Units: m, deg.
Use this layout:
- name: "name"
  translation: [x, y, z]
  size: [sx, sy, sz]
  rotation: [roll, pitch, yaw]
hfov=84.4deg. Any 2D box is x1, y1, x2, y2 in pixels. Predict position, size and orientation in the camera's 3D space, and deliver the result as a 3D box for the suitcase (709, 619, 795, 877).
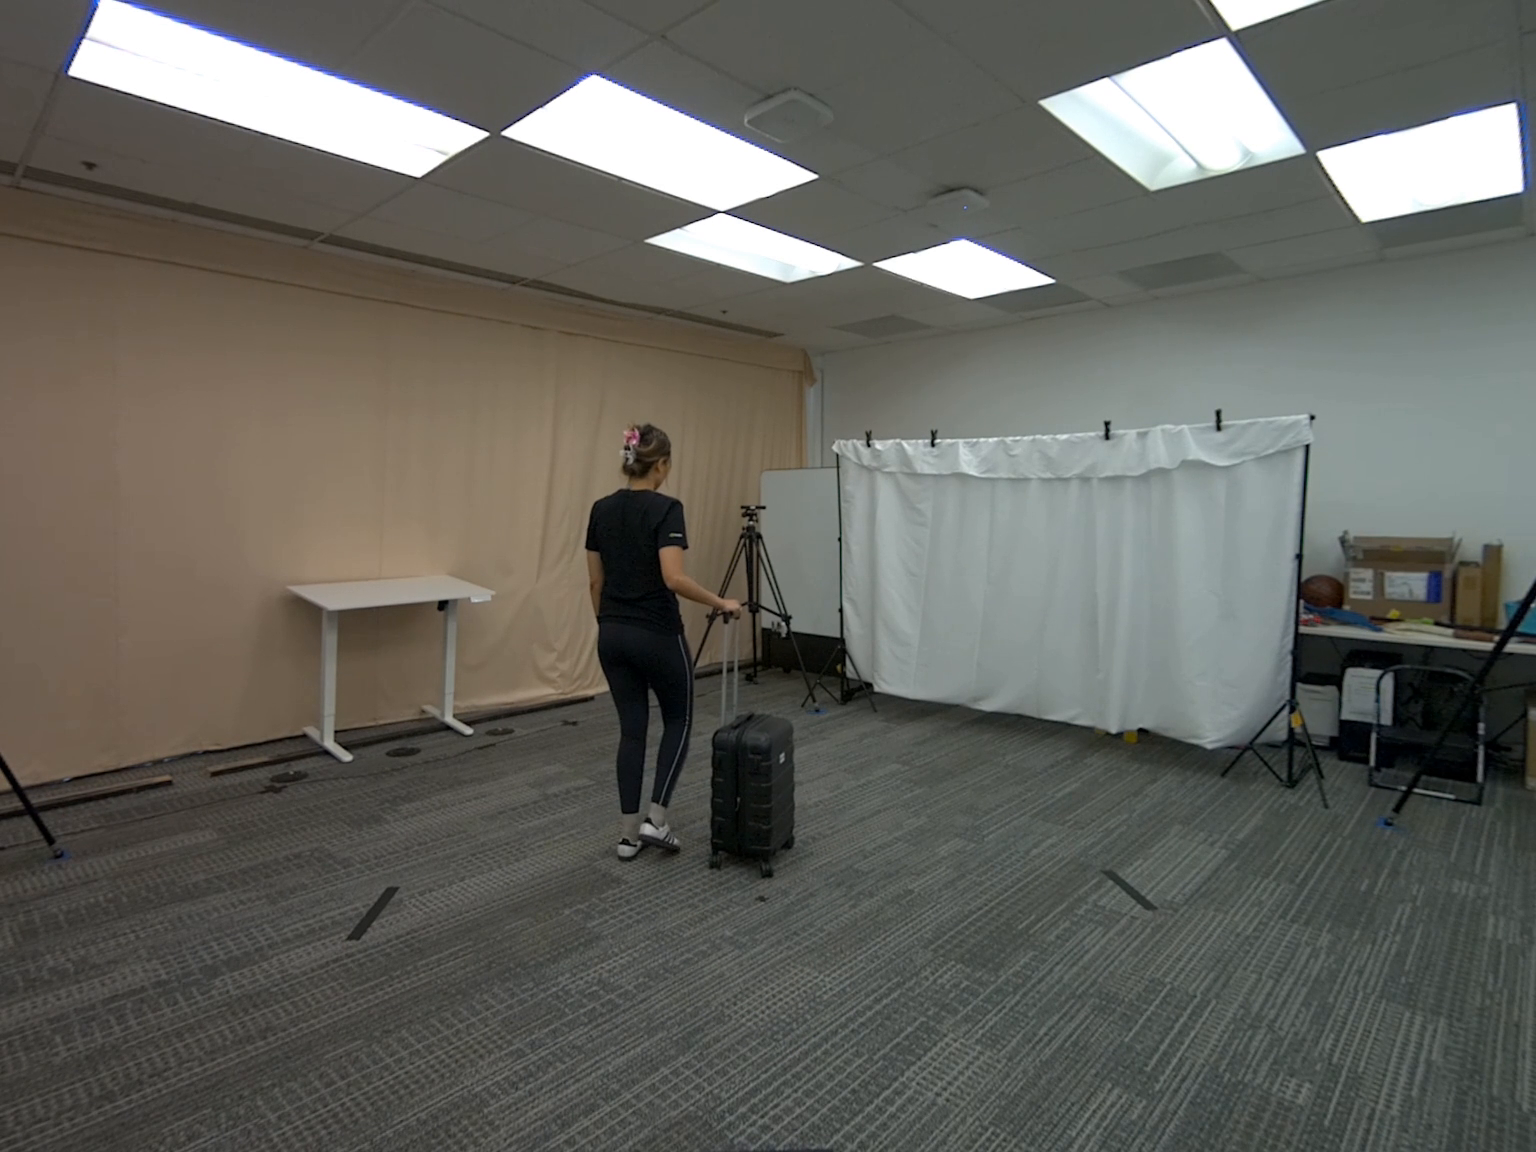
- name: "suitcase"
  translation: [-0.042, 0.639, 3.332]
  size: [0.262, 0.977, 0.376]
  rotation: [4, 2, 19]
